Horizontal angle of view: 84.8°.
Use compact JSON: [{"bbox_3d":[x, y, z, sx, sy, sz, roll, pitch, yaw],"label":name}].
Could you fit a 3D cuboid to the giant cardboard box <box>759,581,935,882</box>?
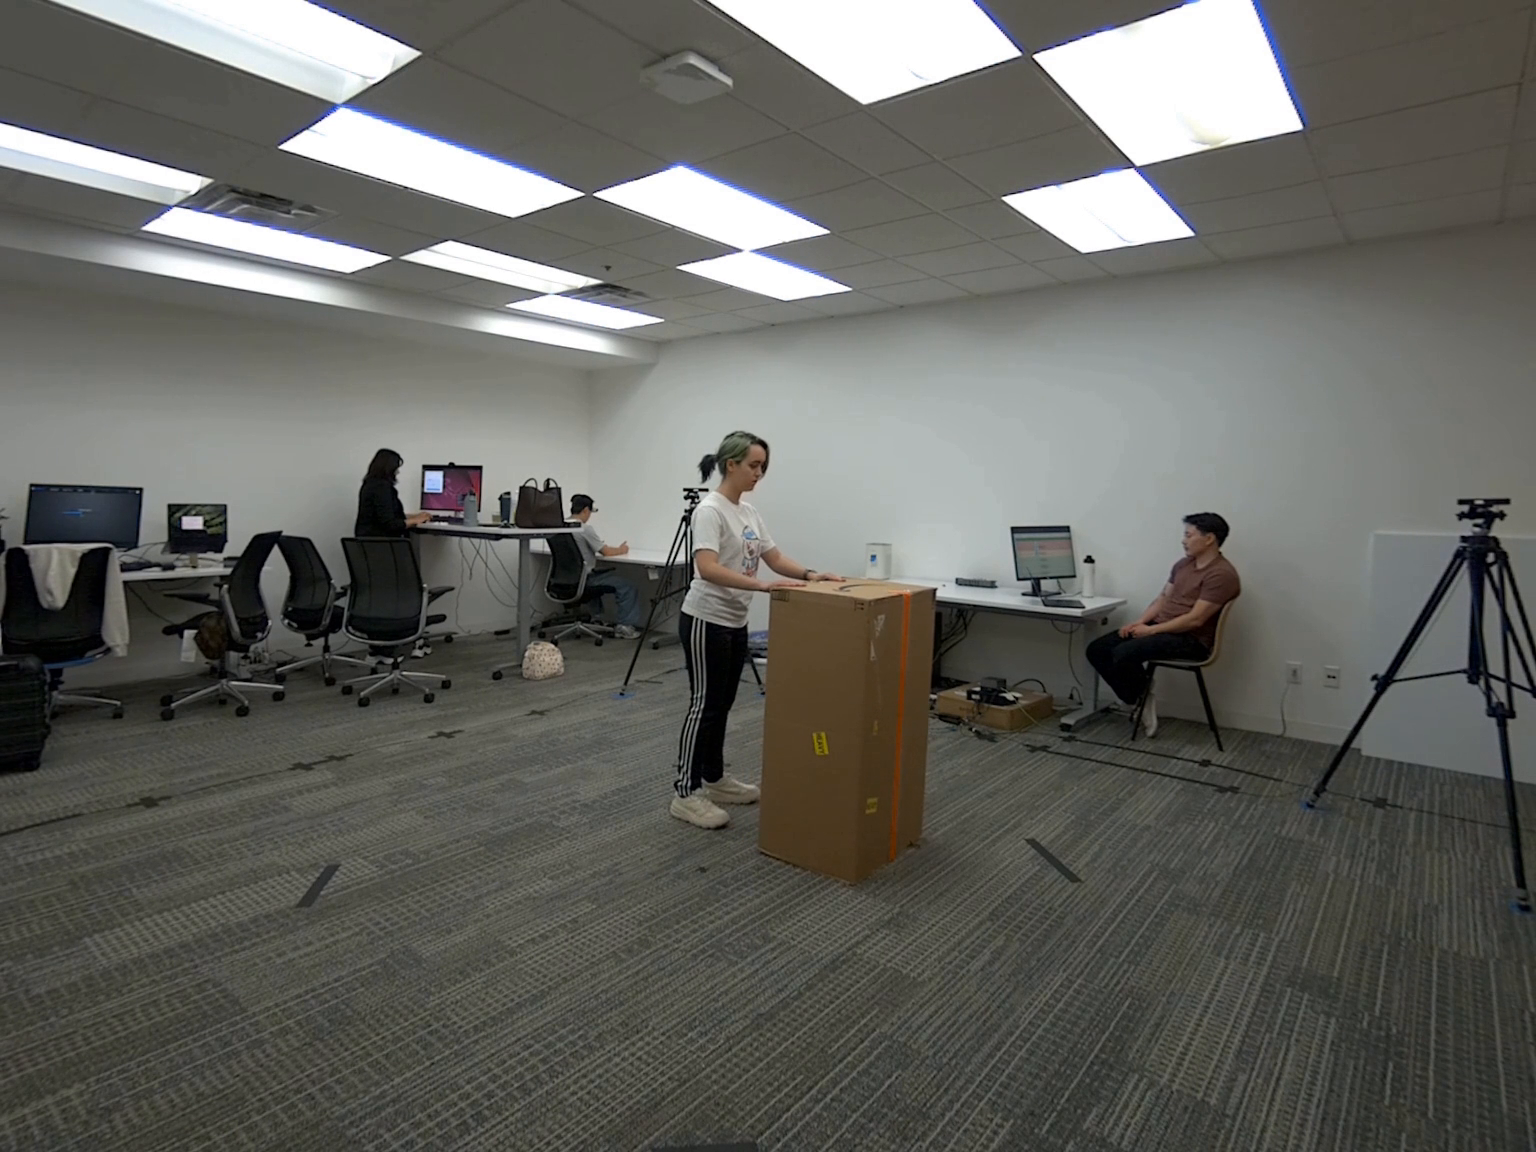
[{"bbox_3d":[0.314,0.553,3.319,0.461,1.024,0.567,4,4,35],"label":"giant cardboard box"}]
